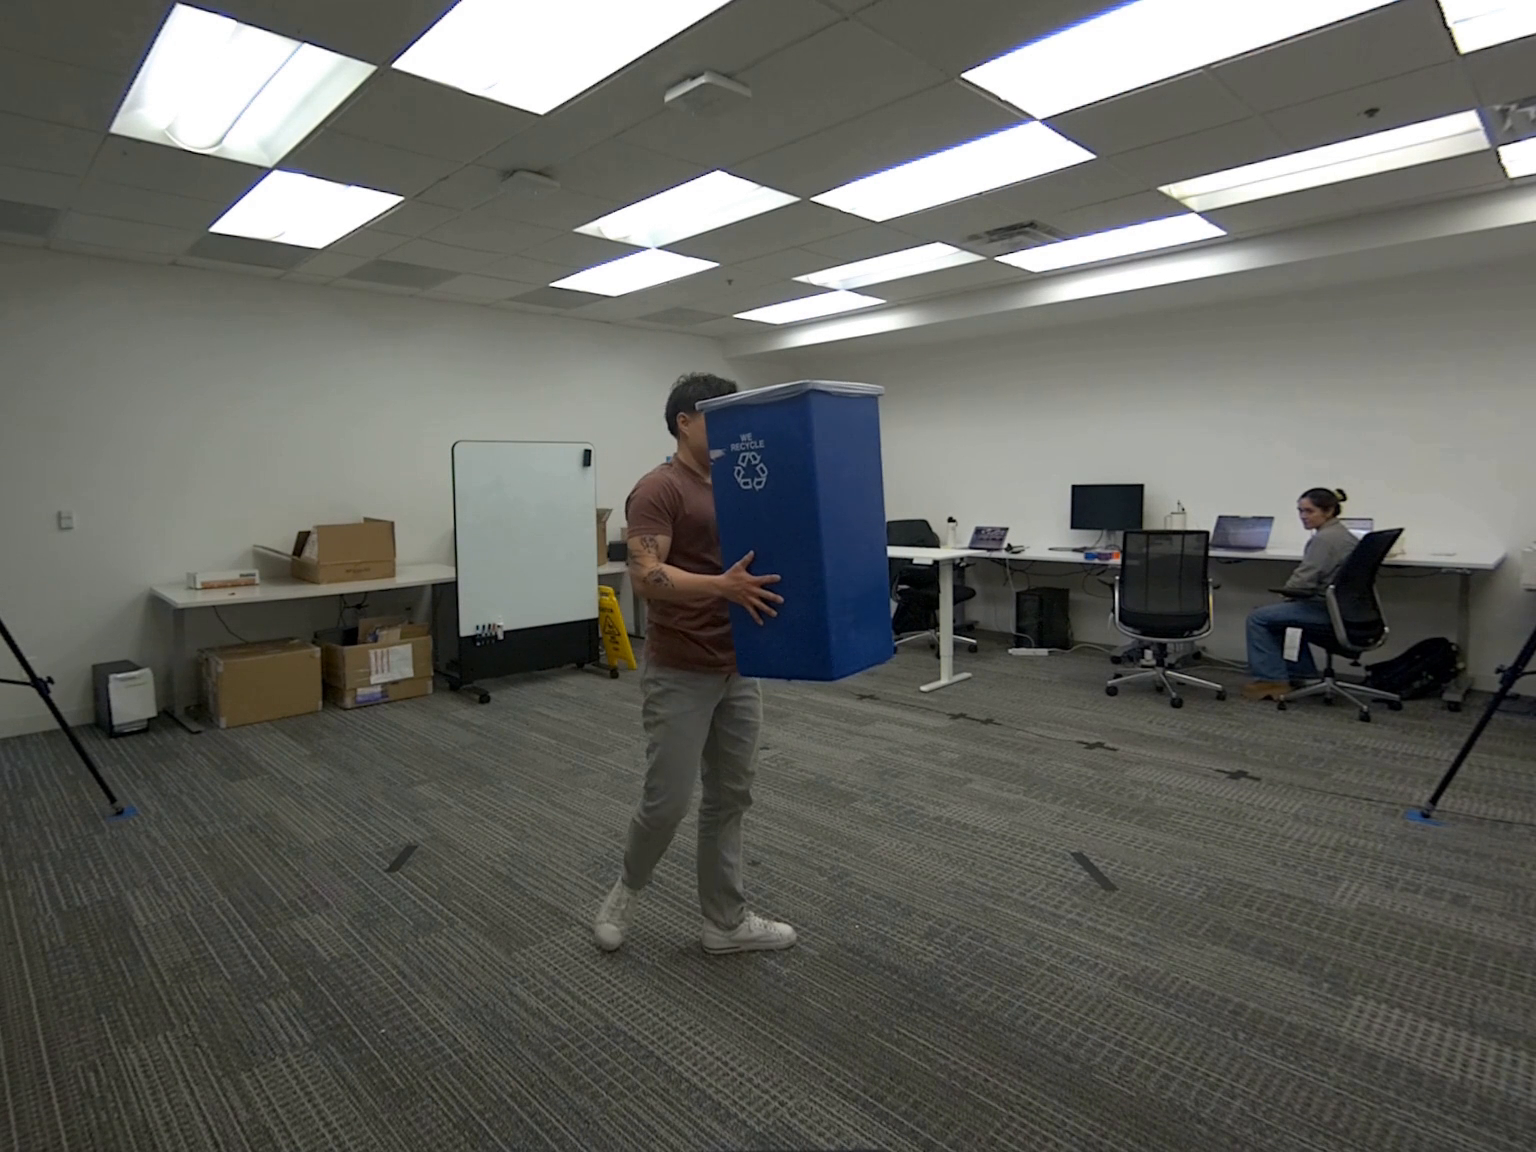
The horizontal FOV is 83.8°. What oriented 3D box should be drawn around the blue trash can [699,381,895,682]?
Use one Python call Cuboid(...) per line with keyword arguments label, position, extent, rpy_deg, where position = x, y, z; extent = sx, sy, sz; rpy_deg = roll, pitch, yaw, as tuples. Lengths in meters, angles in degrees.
Cuboid(label="blue trash can", position=(0.094, -0.118, 2.213), extent=(0.384, 0.712, 0.369), rpy_deg=(-5, 3, 39))
